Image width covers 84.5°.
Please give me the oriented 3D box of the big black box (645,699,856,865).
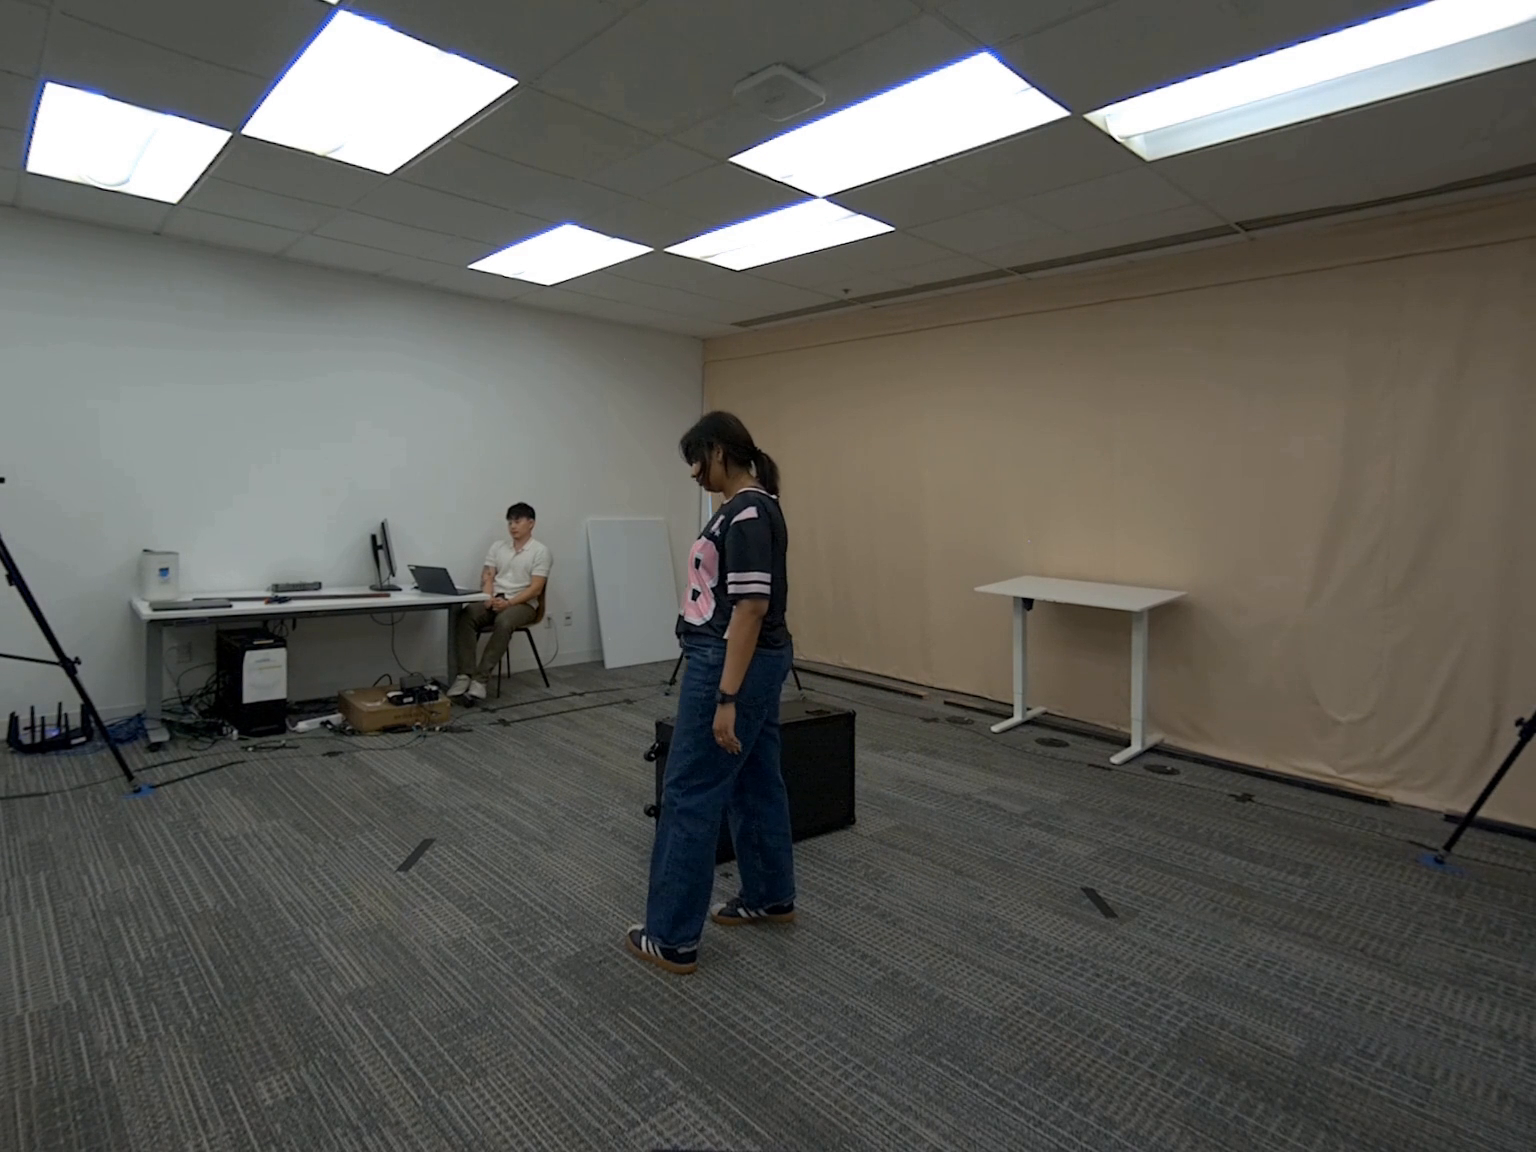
[{"bbox_3d":[-0.081,0.819,3.485,0.849,0.522,0.394,-2,4,-36],"label":"big black box"}]
